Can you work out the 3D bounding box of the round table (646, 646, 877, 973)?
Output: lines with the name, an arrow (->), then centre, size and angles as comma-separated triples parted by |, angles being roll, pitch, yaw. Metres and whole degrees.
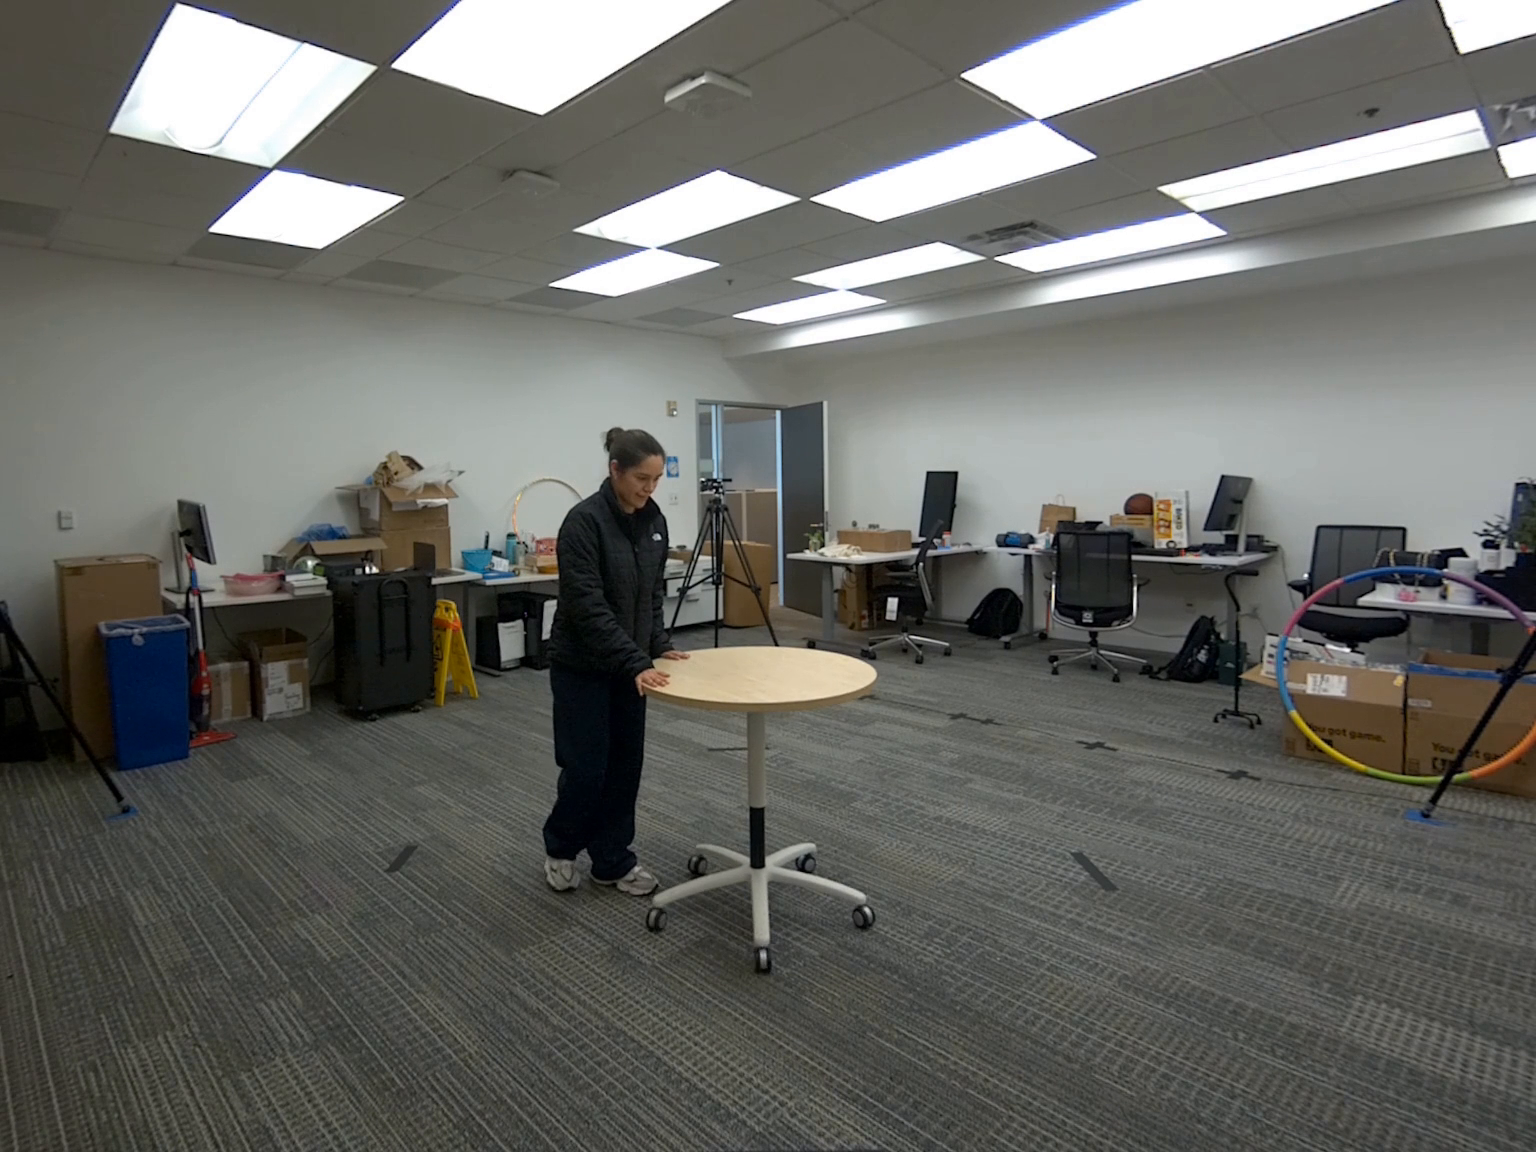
round table -> -0.043, 0.689, 2.753 | 0.784, 0.783, 0.789 | -1, 5, -2
